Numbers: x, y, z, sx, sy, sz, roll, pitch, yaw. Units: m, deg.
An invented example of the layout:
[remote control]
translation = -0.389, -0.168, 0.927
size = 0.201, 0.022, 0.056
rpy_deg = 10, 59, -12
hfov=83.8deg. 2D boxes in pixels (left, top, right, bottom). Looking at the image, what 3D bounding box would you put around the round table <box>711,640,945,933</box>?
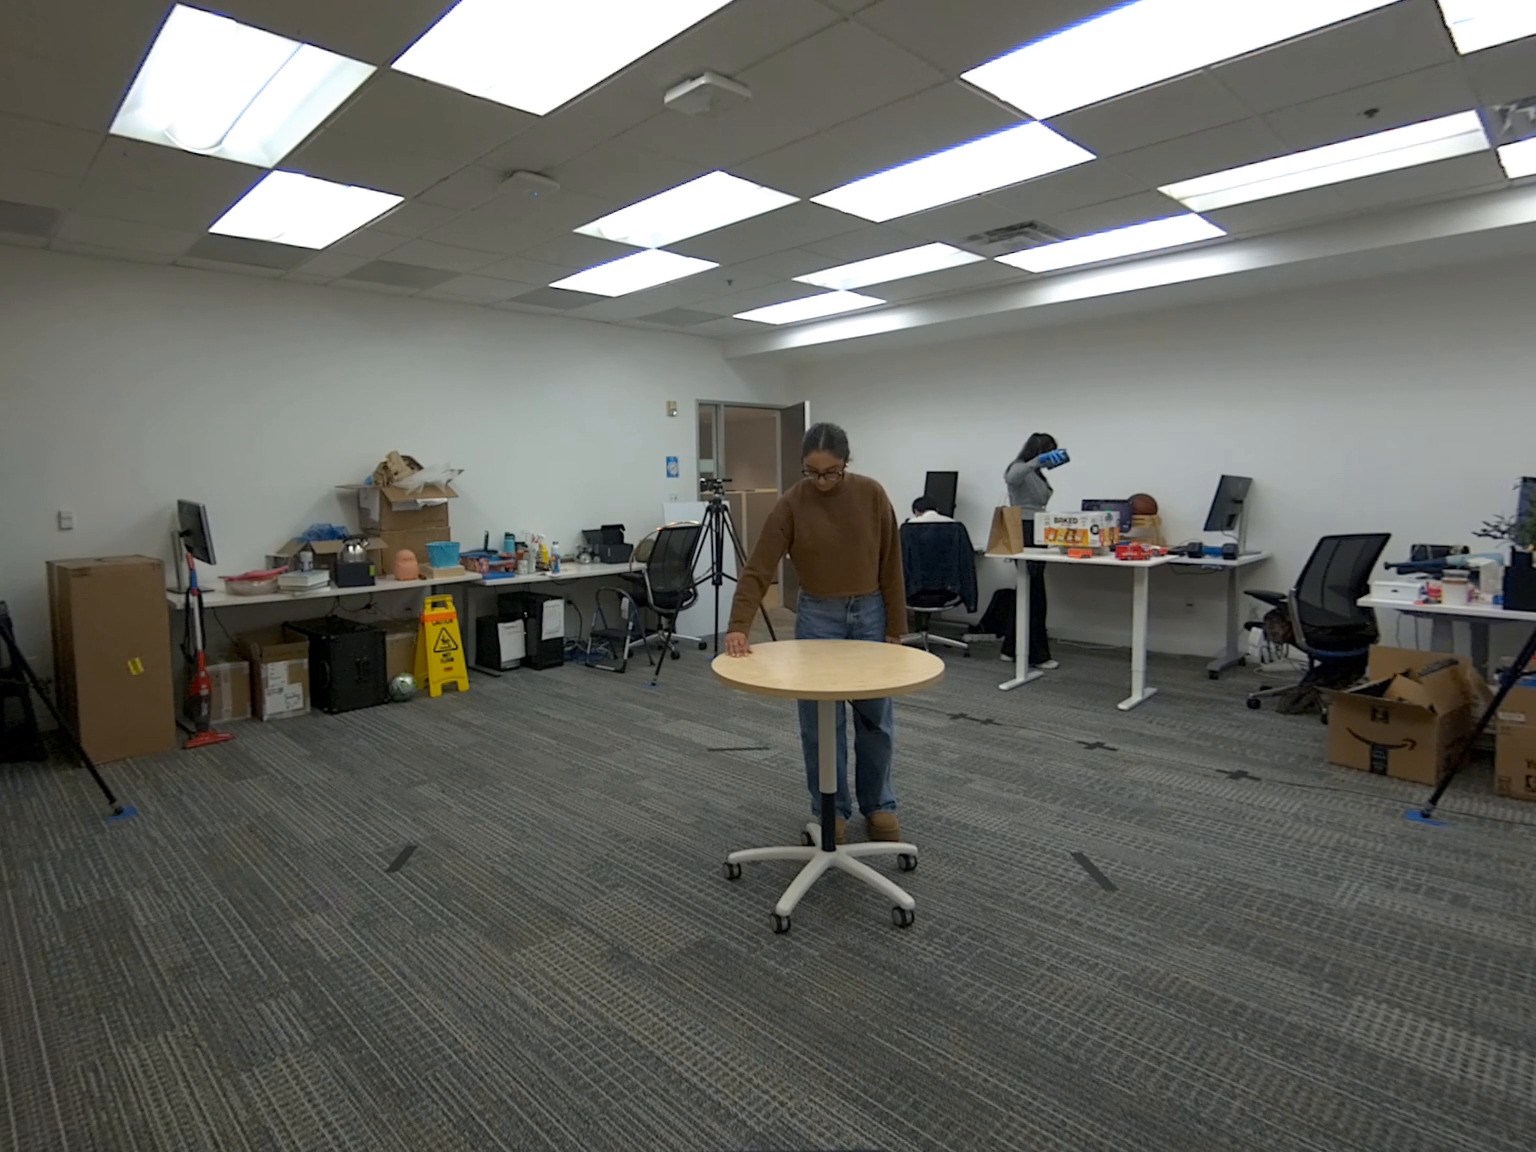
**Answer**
[round table]
translation = 0.207, 0.681, 2.869
size = 0.763, 0.790, 0.768
rpy_deg = -1, 5, -2
